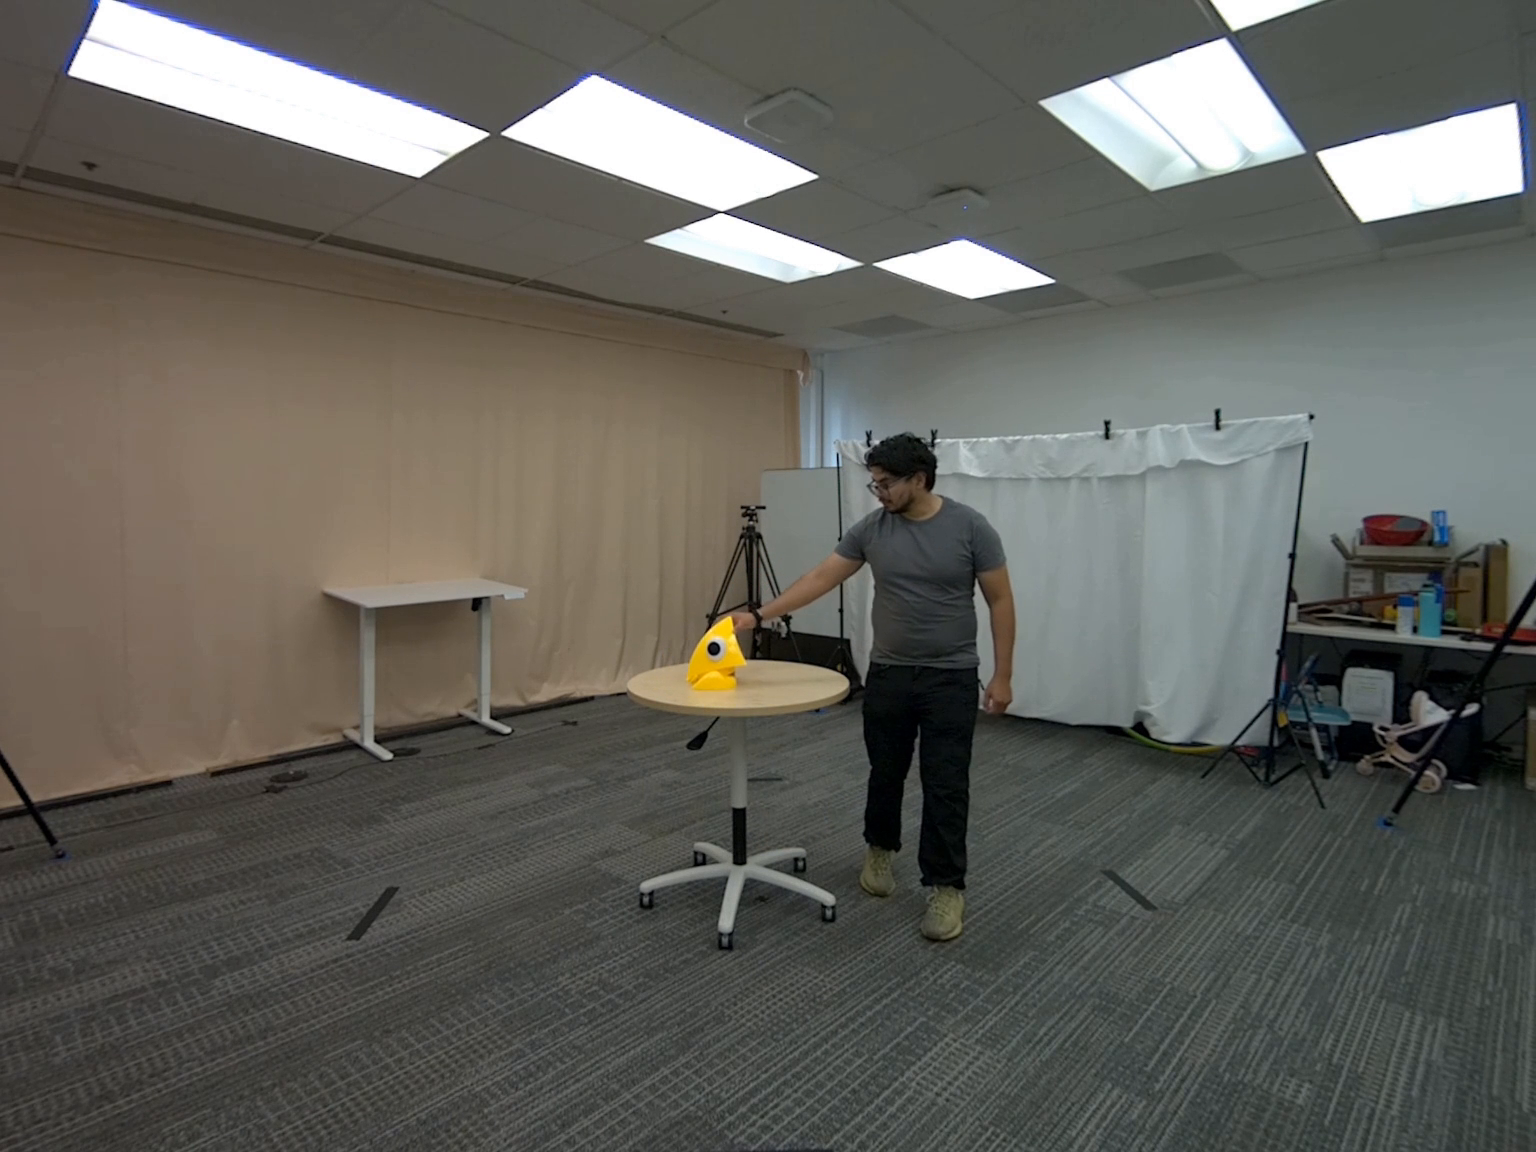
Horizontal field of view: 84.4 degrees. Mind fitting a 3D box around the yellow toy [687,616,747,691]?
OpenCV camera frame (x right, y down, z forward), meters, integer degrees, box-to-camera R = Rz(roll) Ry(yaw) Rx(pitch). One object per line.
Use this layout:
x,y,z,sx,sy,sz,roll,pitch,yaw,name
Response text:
-0.180,0.259,2.885,0.190,0.230,0.208,-2,4,-13,yellow toy
